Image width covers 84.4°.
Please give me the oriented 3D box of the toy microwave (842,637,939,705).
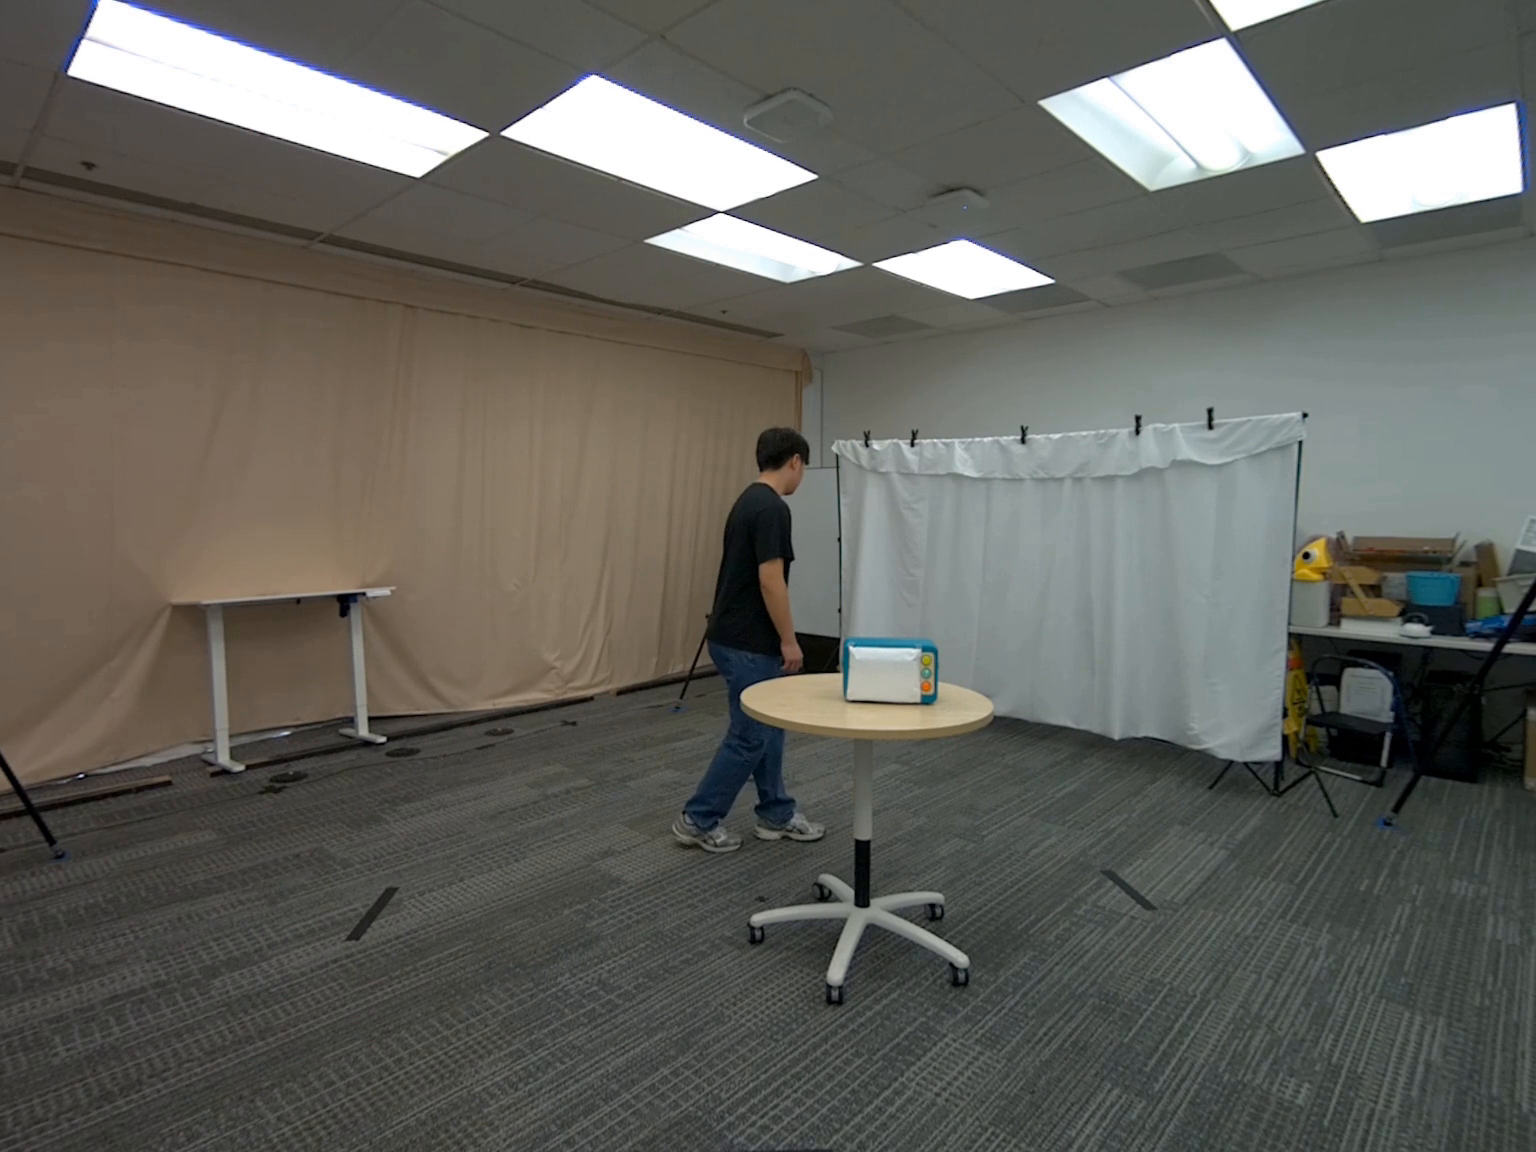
[{"bbox_3d":[0.379,0.284,2.564,0.288,0.184,0.151,-1,3,6],"label":"toy microwave"}]
